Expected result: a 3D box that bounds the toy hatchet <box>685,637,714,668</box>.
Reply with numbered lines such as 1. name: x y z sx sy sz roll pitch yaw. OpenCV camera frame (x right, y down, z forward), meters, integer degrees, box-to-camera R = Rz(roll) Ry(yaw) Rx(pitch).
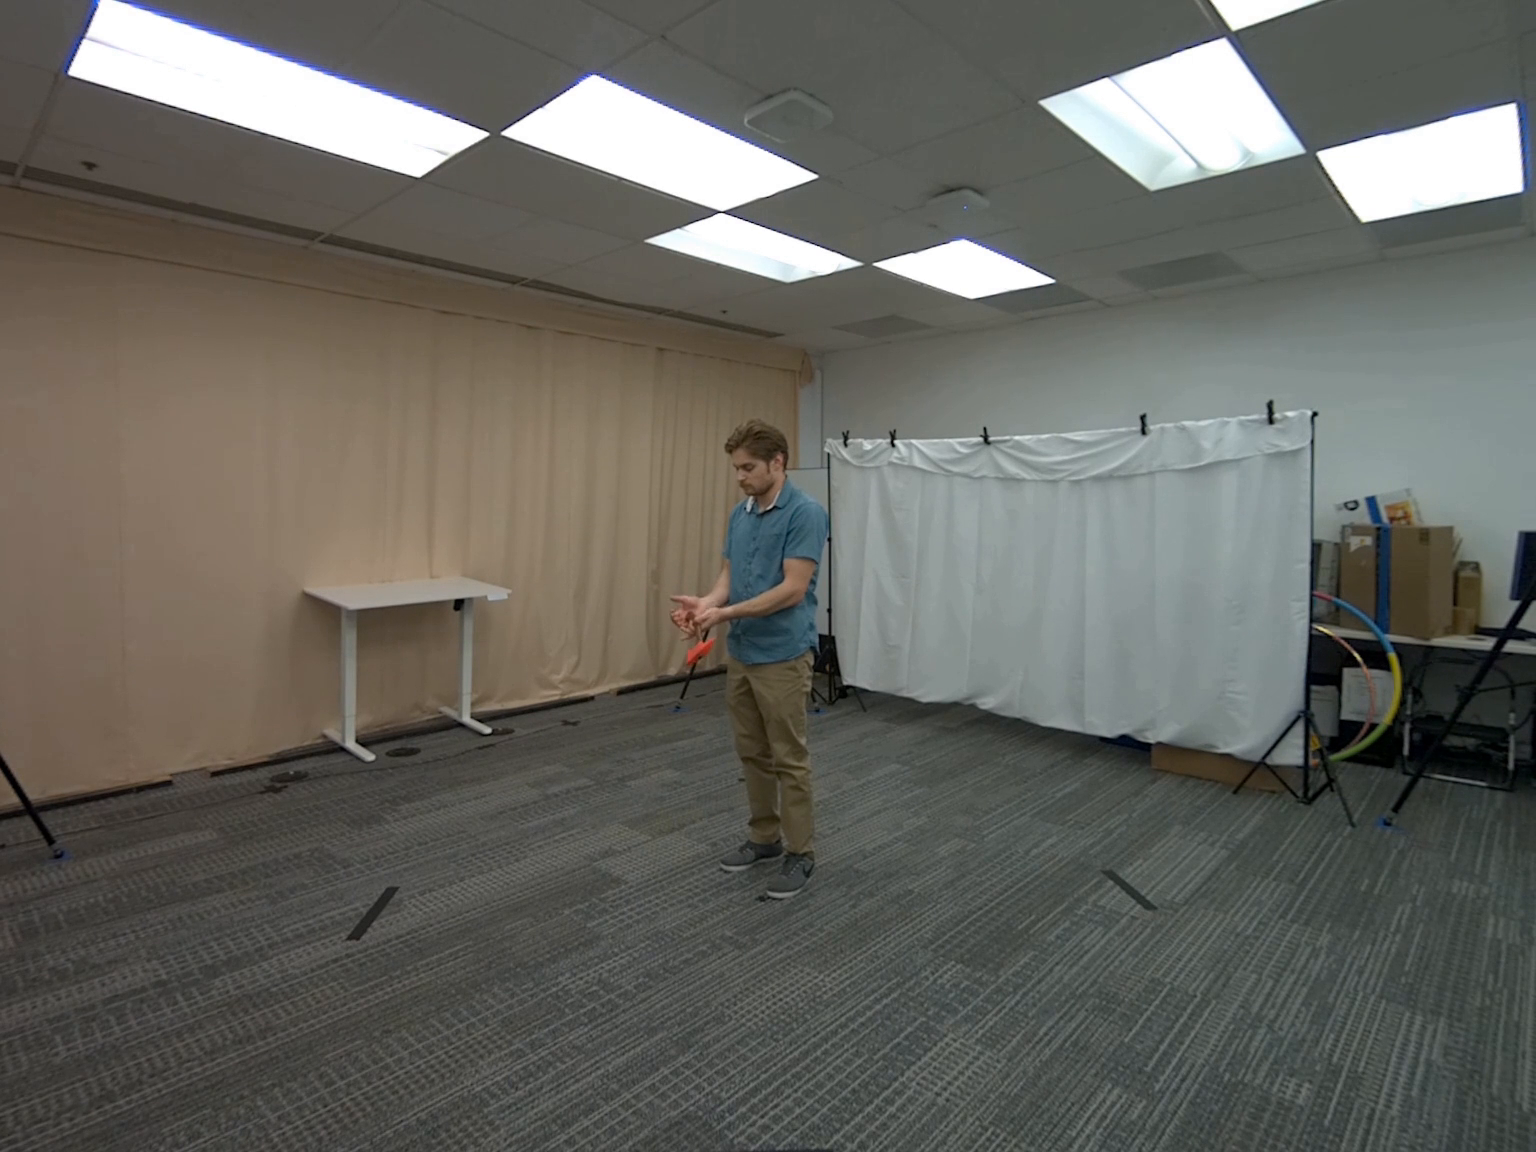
1. toy hatchet: -0.251 0.222 2.850 0.029 0.131 0.277 38 -1 -25
